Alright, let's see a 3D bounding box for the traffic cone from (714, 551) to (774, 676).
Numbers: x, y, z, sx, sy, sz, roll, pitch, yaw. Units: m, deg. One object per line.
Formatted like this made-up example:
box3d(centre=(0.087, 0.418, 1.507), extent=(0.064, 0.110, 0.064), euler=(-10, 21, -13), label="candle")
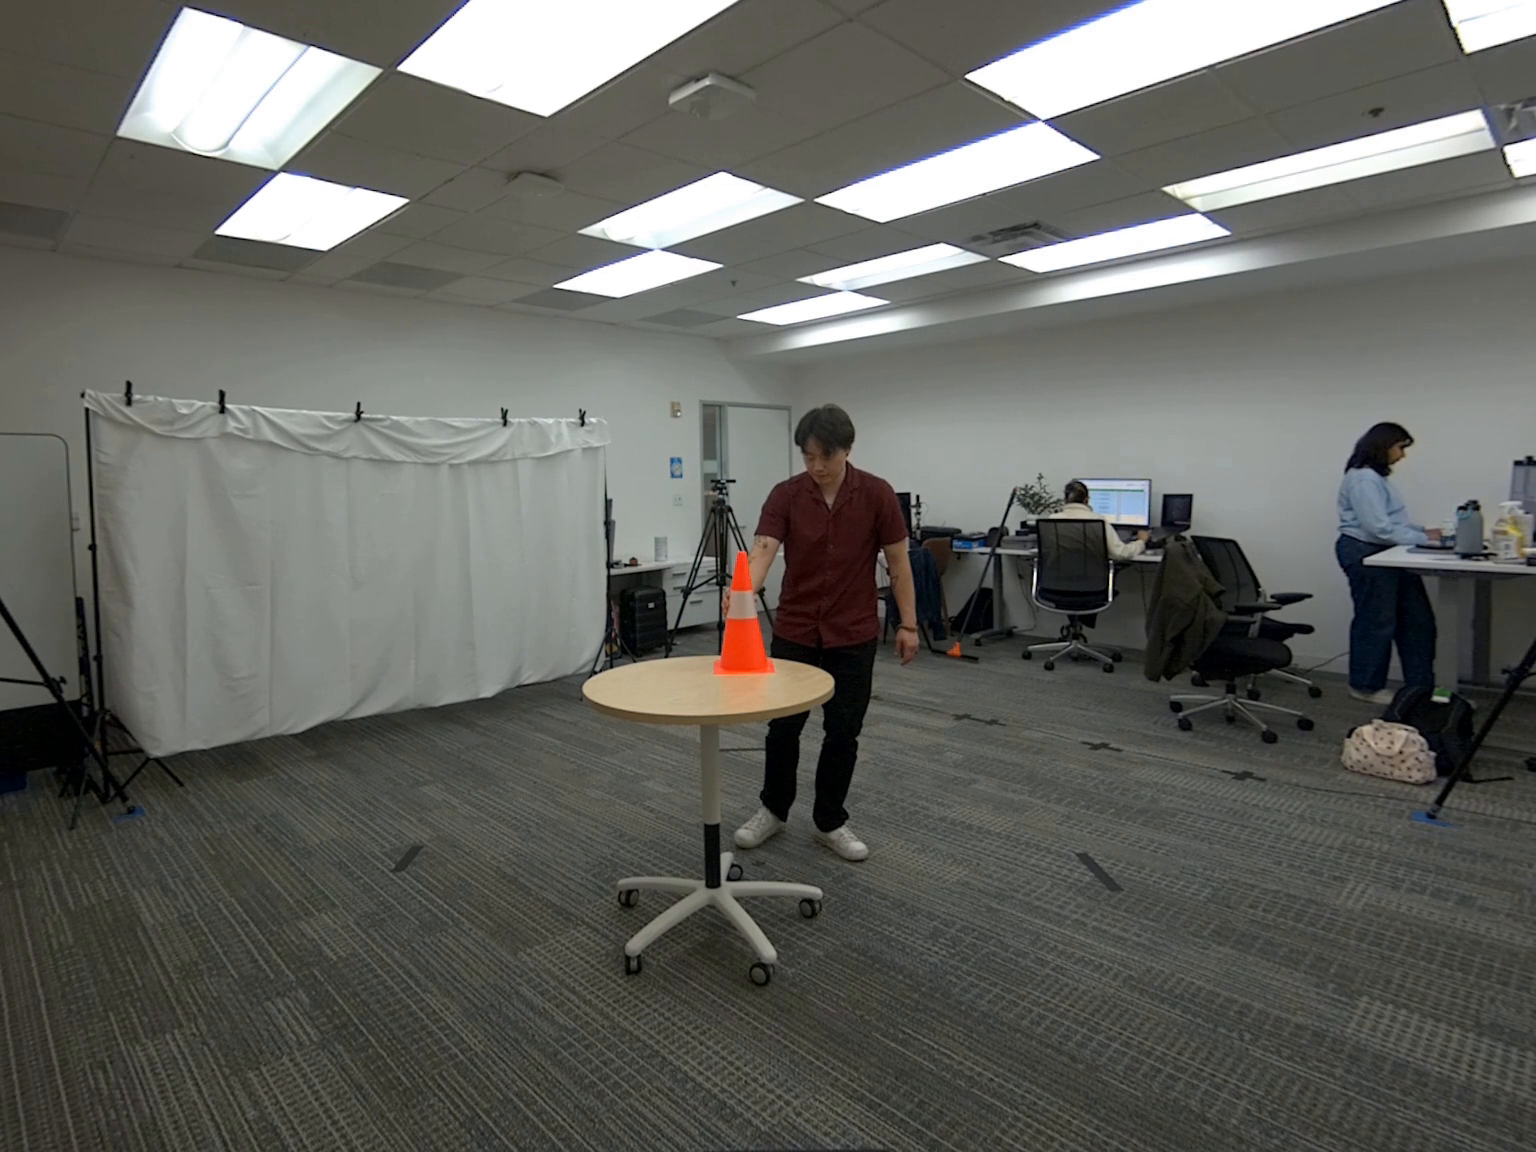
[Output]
box3d(centre=(-0.081, 0.113, 2.794), extent=(0.203, 0.382, 0.206), euler=(0, 3, -2), label="traffic cone")
